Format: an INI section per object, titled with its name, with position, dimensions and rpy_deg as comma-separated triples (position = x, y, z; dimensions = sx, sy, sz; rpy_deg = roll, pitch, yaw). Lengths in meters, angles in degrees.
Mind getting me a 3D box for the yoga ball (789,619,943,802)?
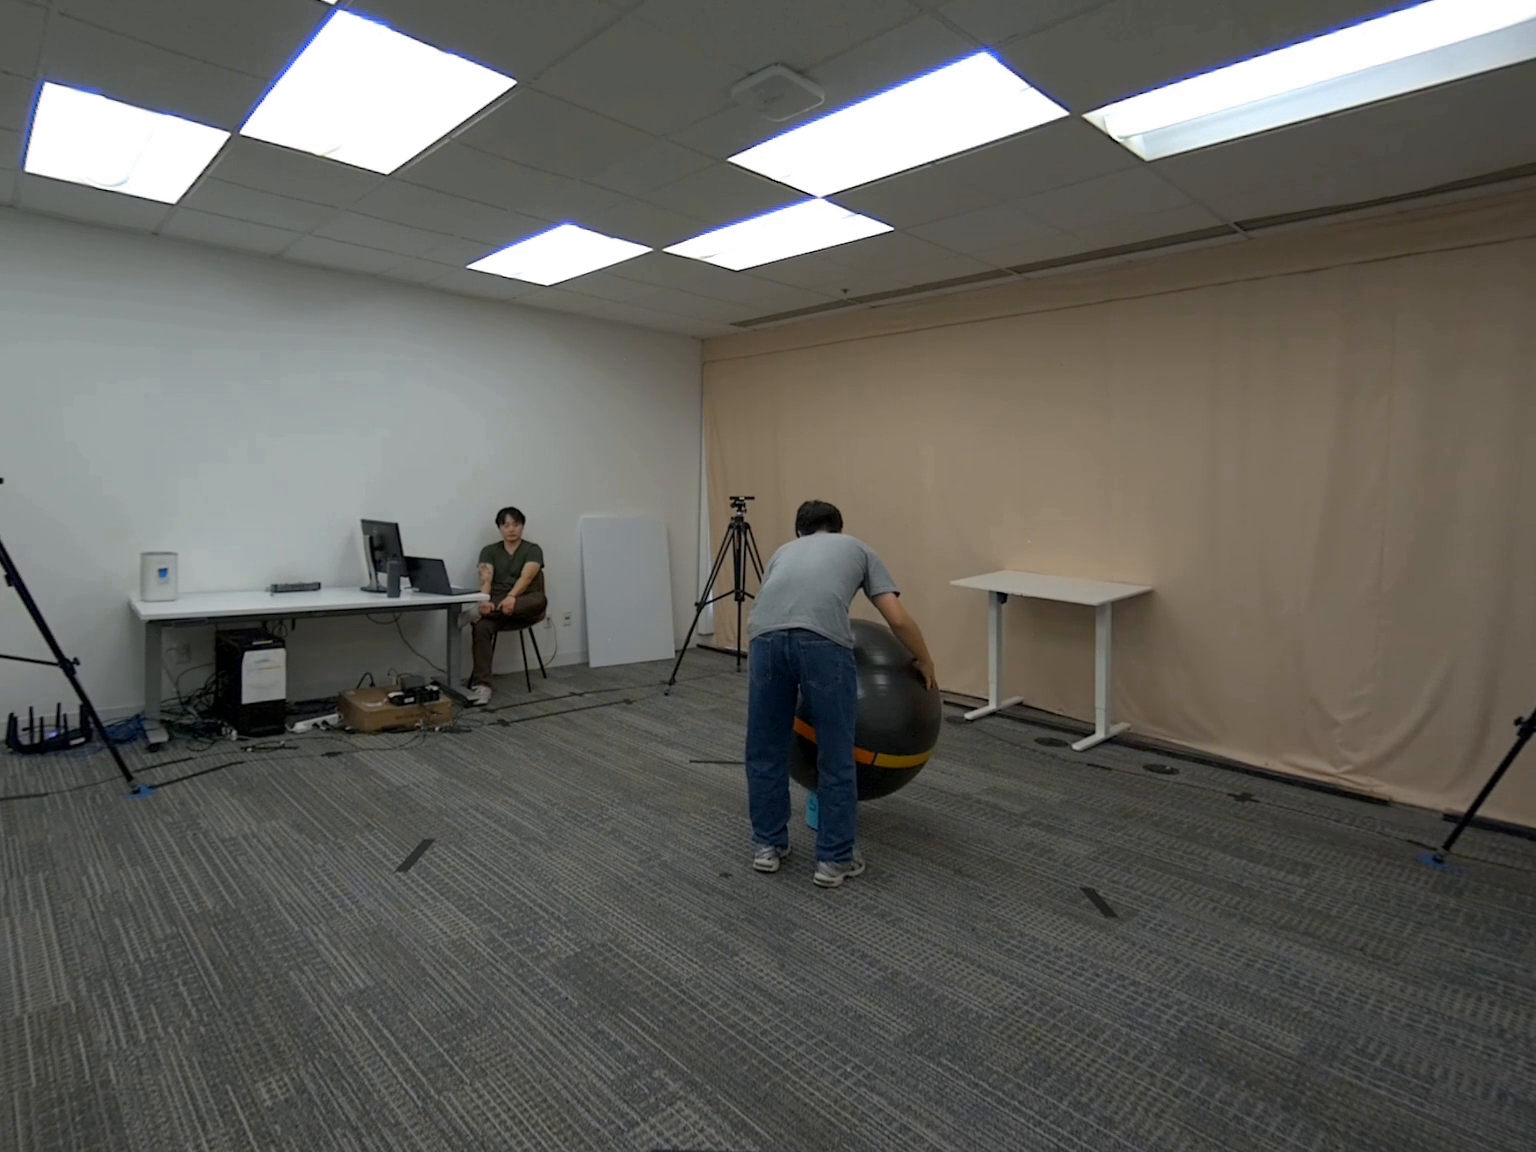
[yoga ball]
position = 0.343, 0.563, 3.563
dimensions = 0.757, 0.756, 0.761
rpy_deg = 1, 4, -1
